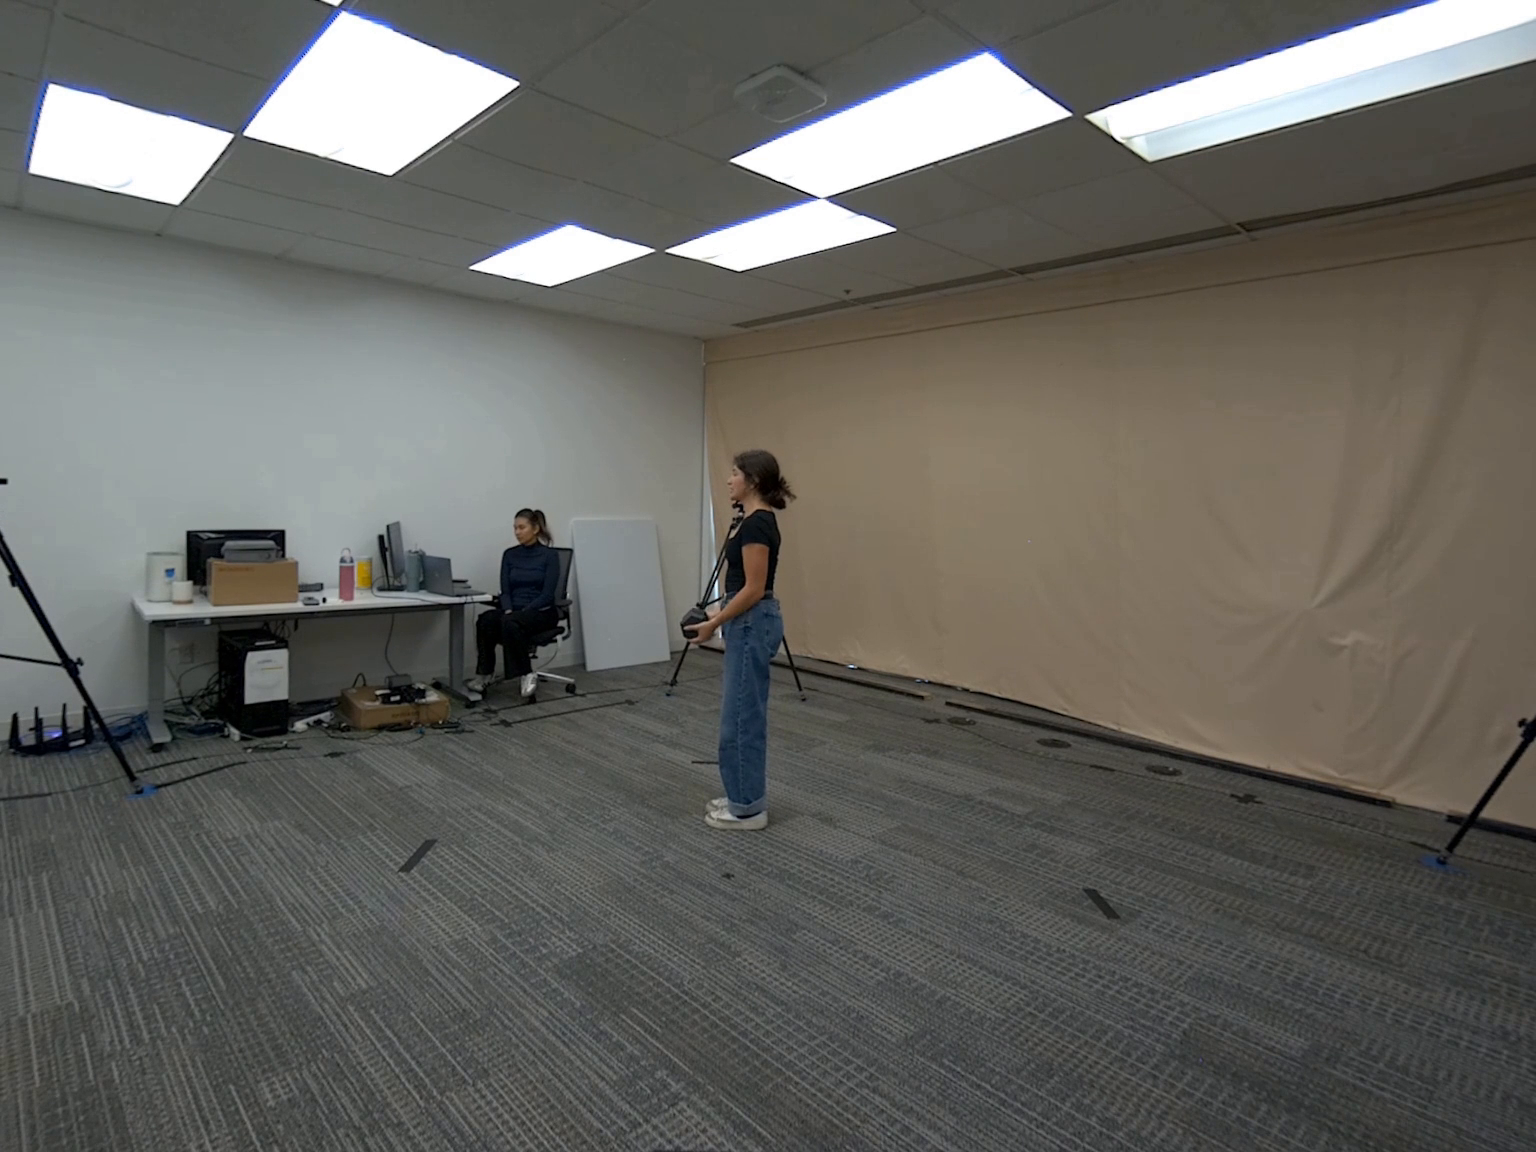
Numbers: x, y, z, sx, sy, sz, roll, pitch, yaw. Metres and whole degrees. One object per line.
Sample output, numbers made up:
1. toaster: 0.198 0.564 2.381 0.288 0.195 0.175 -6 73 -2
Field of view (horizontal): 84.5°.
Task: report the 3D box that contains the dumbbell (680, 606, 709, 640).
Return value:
1. dumbbell: -0.317 0.186 3.642 0.123 0.108 0.294 14 4 -1
